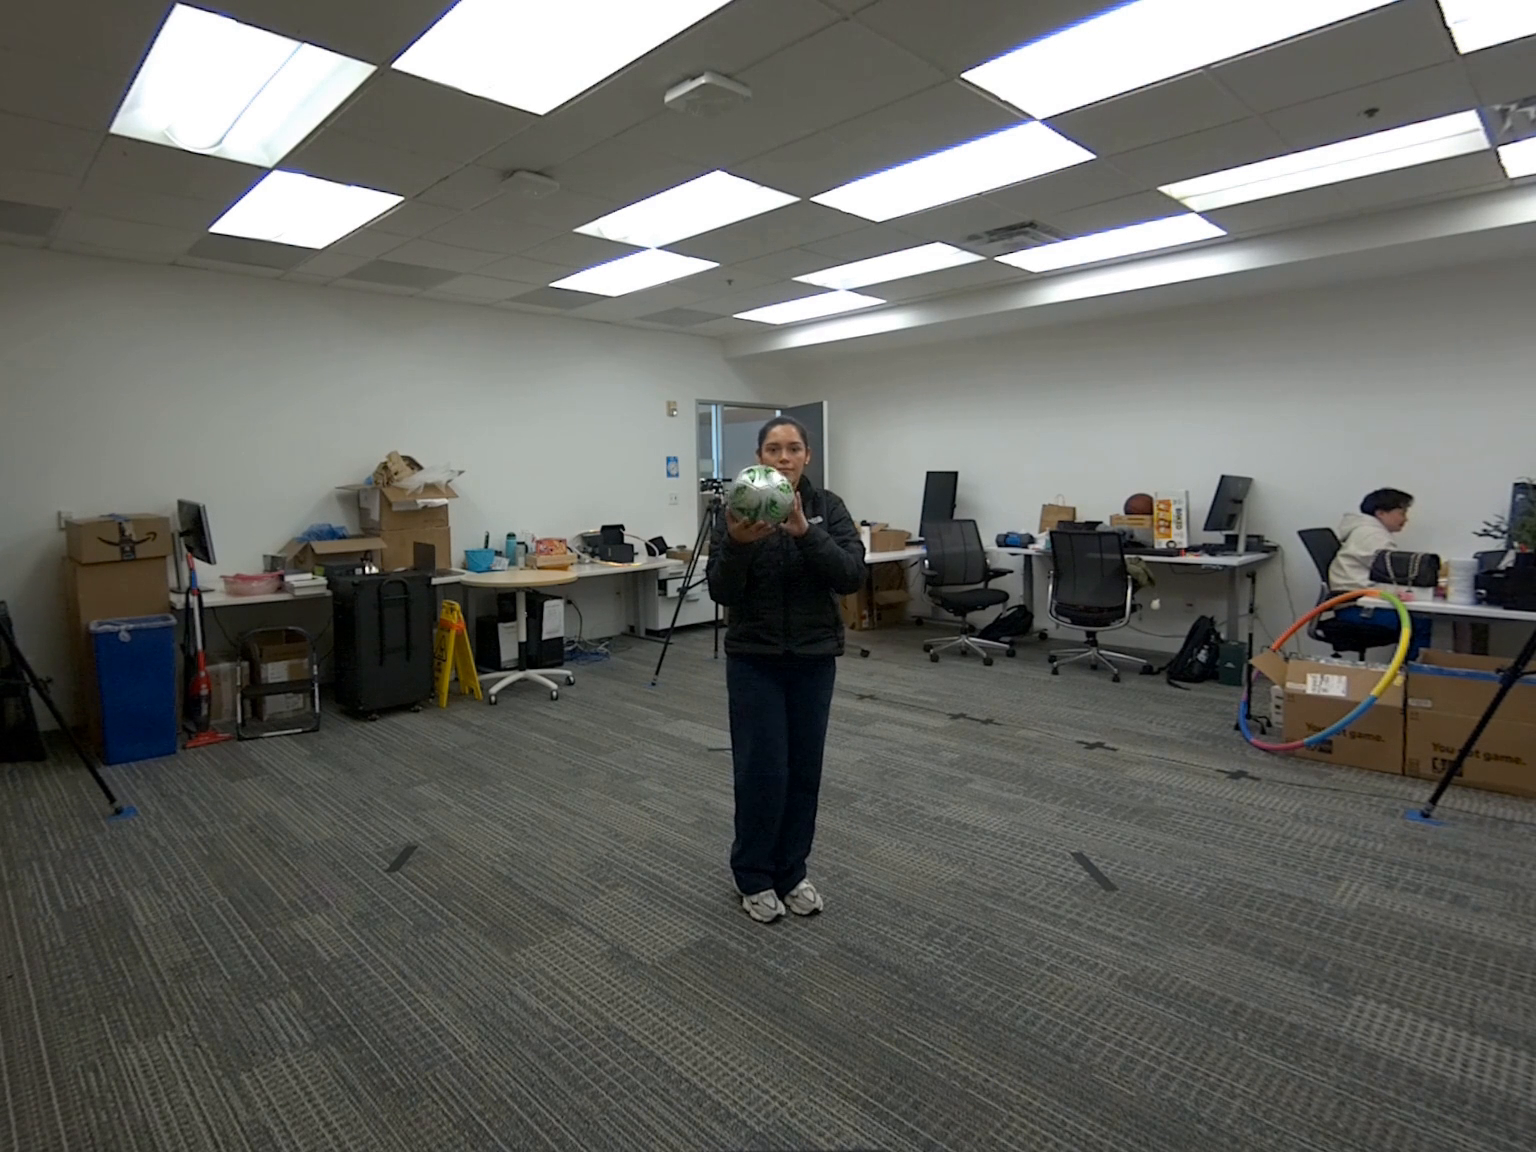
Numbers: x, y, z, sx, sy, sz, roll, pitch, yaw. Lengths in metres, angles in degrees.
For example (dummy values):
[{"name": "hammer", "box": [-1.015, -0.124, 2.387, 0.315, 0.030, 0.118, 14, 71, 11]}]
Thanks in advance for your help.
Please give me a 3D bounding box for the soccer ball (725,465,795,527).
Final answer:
[{"name": "soccer ball", "box": [-0.017, -0.225, 2.456, 0.187, 0.187, 0.188, -1, 5, -2]}]
